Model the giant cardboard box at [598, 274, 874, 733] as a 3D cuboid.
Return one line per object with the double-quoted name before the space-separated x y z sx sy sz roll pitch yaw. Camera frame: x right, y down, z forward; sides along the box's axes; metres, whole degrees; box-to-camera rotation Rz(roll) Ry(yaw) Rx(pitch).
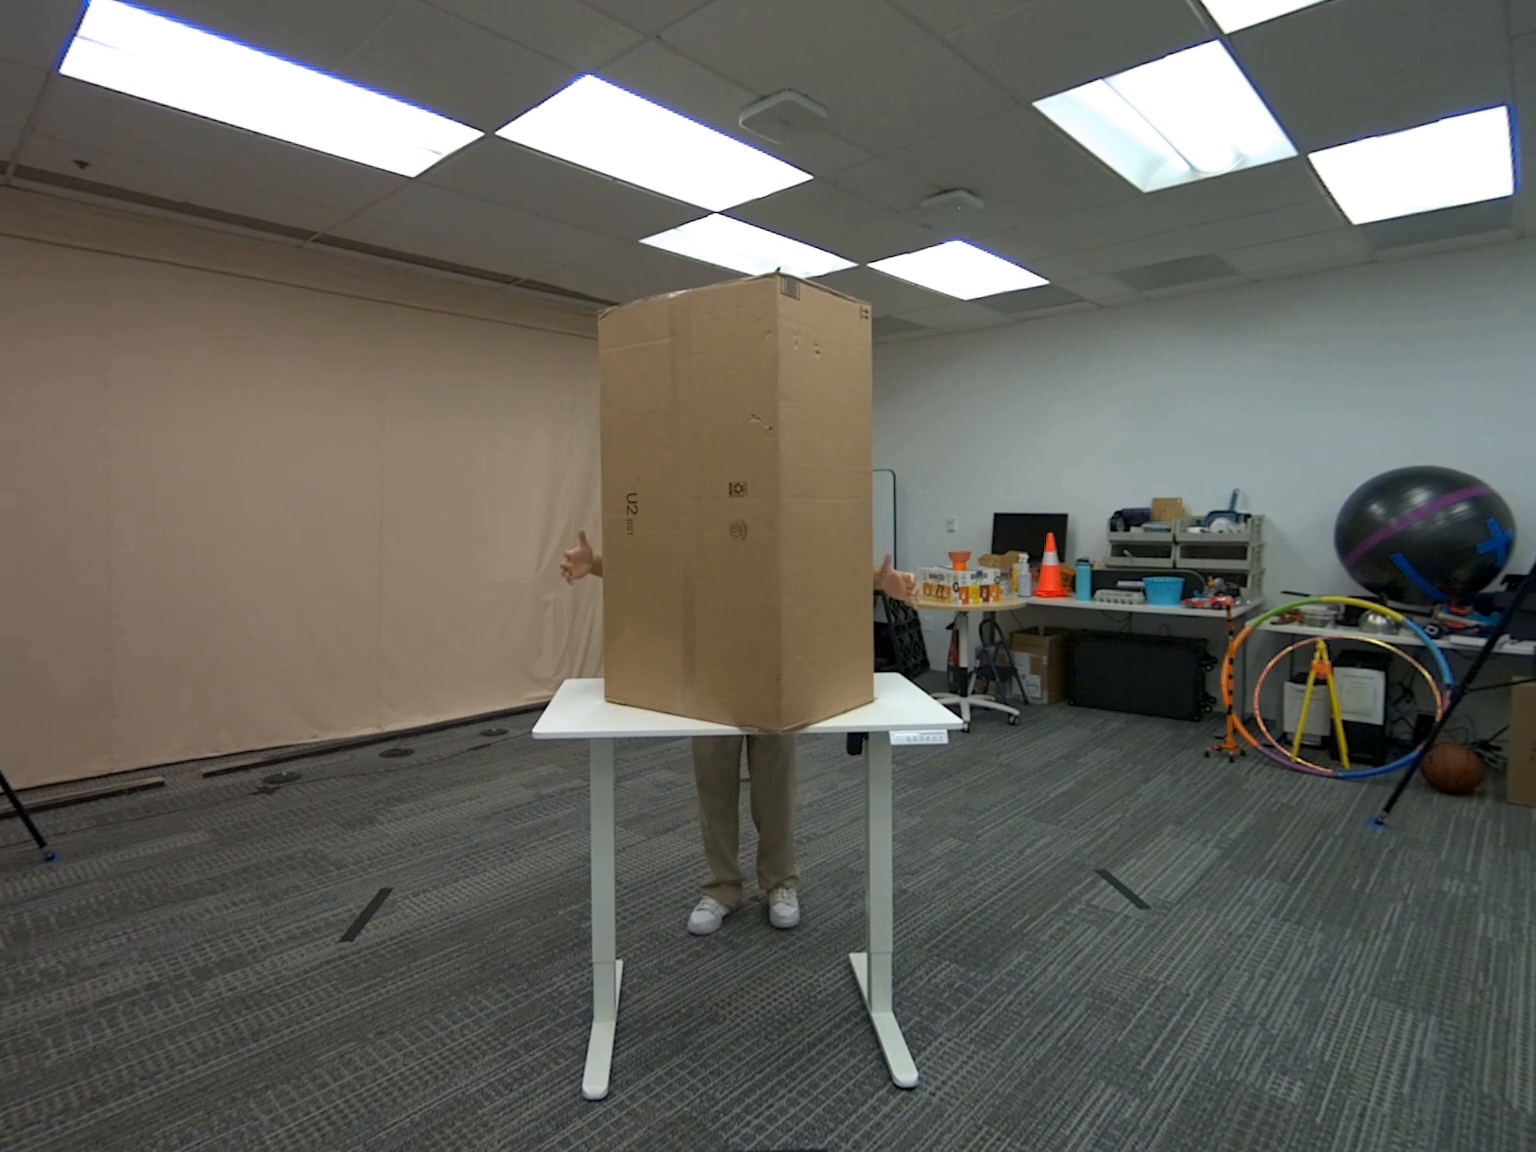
"giant cardboard box" -0.078 -0.180 2.180 0.596 1.024 0.413 1 2 37
